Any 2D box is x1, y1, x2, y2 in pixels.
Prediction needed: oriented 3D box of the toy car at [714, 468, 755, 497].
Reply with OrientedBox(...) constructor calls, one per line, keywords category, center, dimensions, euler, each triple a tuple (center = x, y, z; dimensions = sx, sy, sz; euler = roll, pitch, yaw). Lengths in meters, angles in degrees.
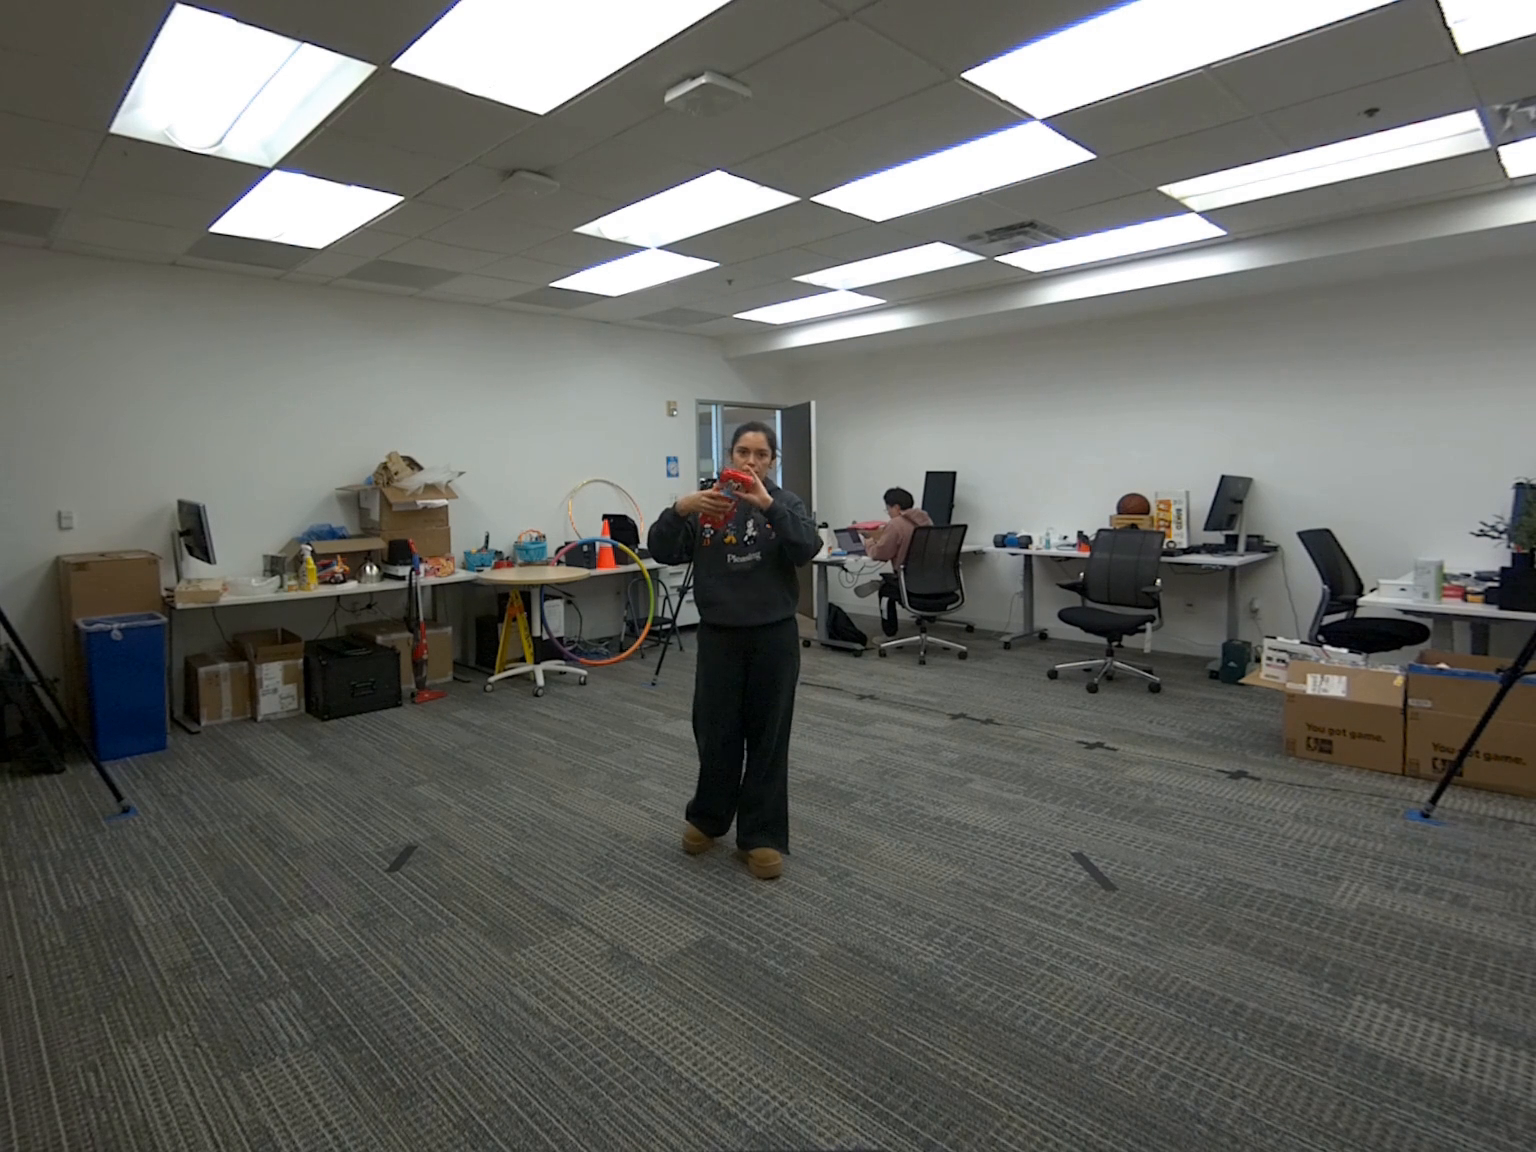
OrientedBox(category="toy car", center=(-0.154, -0.264, 2.843), dimensions=(0.127, 0.252, 0.086), euler=(17, 35, -19))
